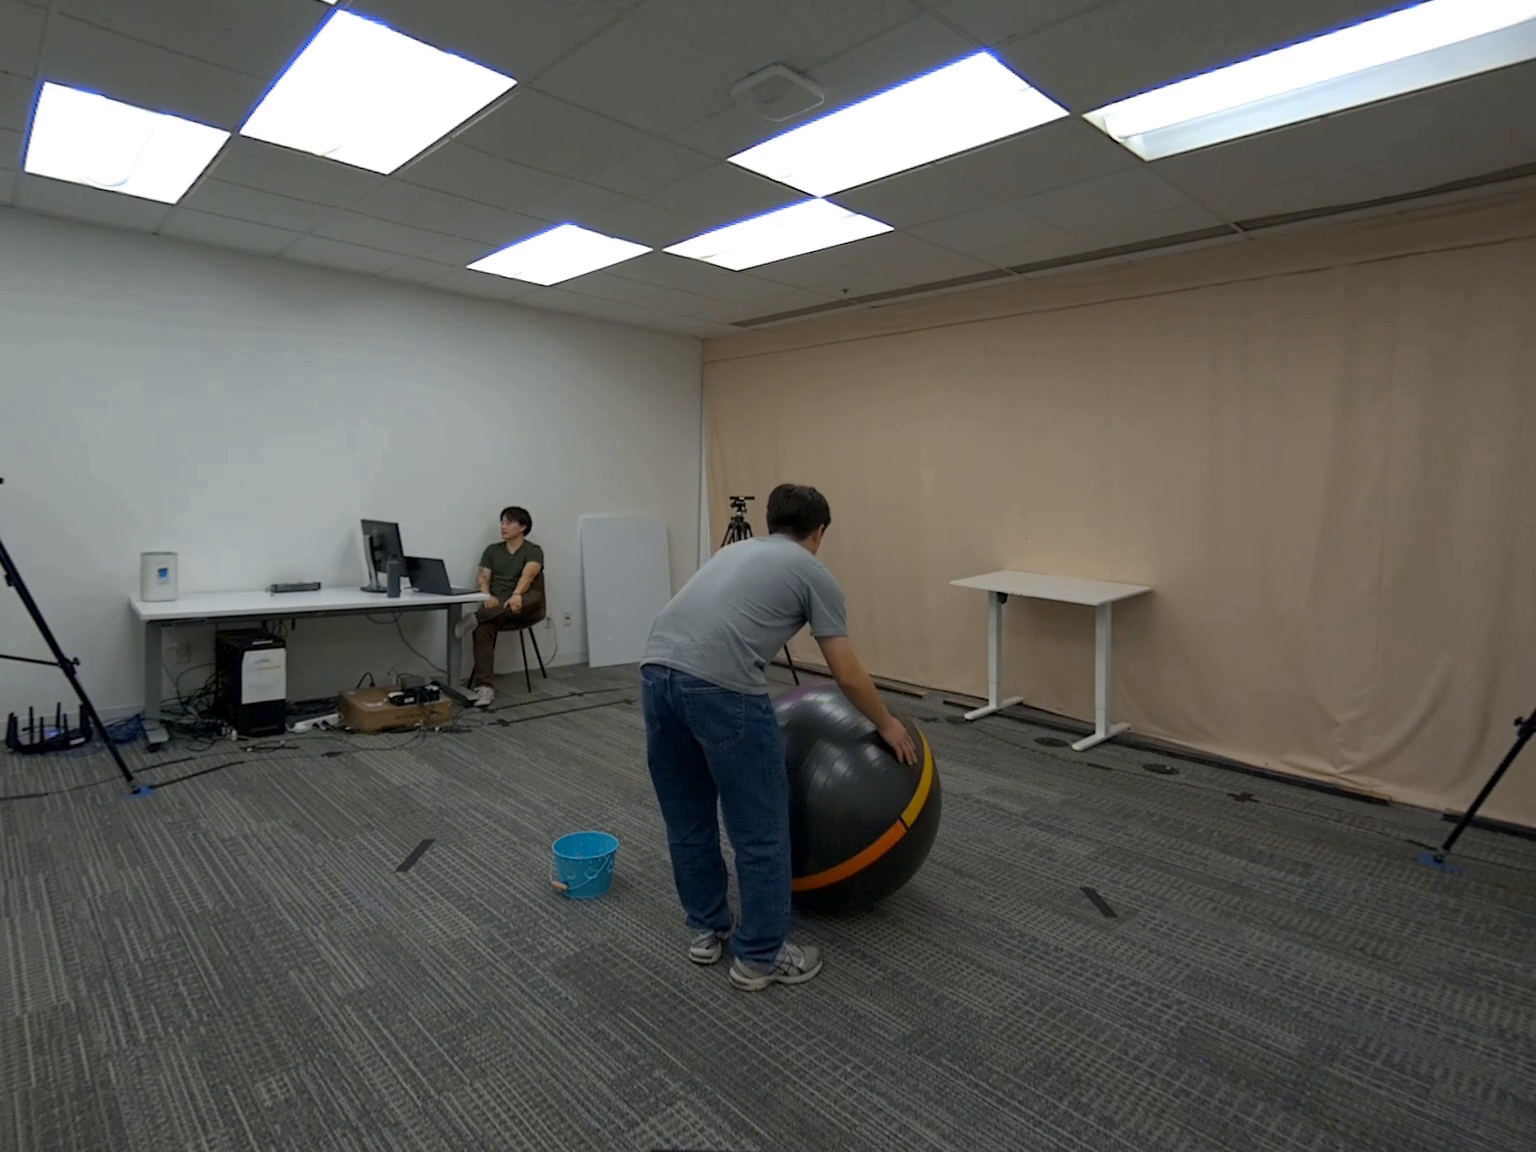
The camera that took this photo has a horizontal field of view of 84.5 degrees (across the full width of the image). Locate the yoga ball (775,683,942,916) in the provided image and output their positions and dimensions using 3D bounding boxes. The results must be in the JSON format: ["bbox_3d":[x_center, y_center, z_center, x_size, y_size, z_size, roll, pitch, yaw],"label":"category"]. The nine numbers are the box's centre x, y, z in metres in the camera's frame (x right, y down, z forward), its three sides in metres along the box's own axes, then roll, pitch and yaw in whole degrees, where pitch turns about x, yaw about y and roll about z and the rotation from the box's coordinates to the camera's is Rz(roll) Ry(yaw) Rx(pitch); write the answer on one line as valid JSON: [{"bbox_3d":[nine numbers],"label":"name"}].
[{"bbox_3d":[0.208,0.756,2.926,0.757,0.756,0.761,1,4,-1],"label":"yoga ball"}]
